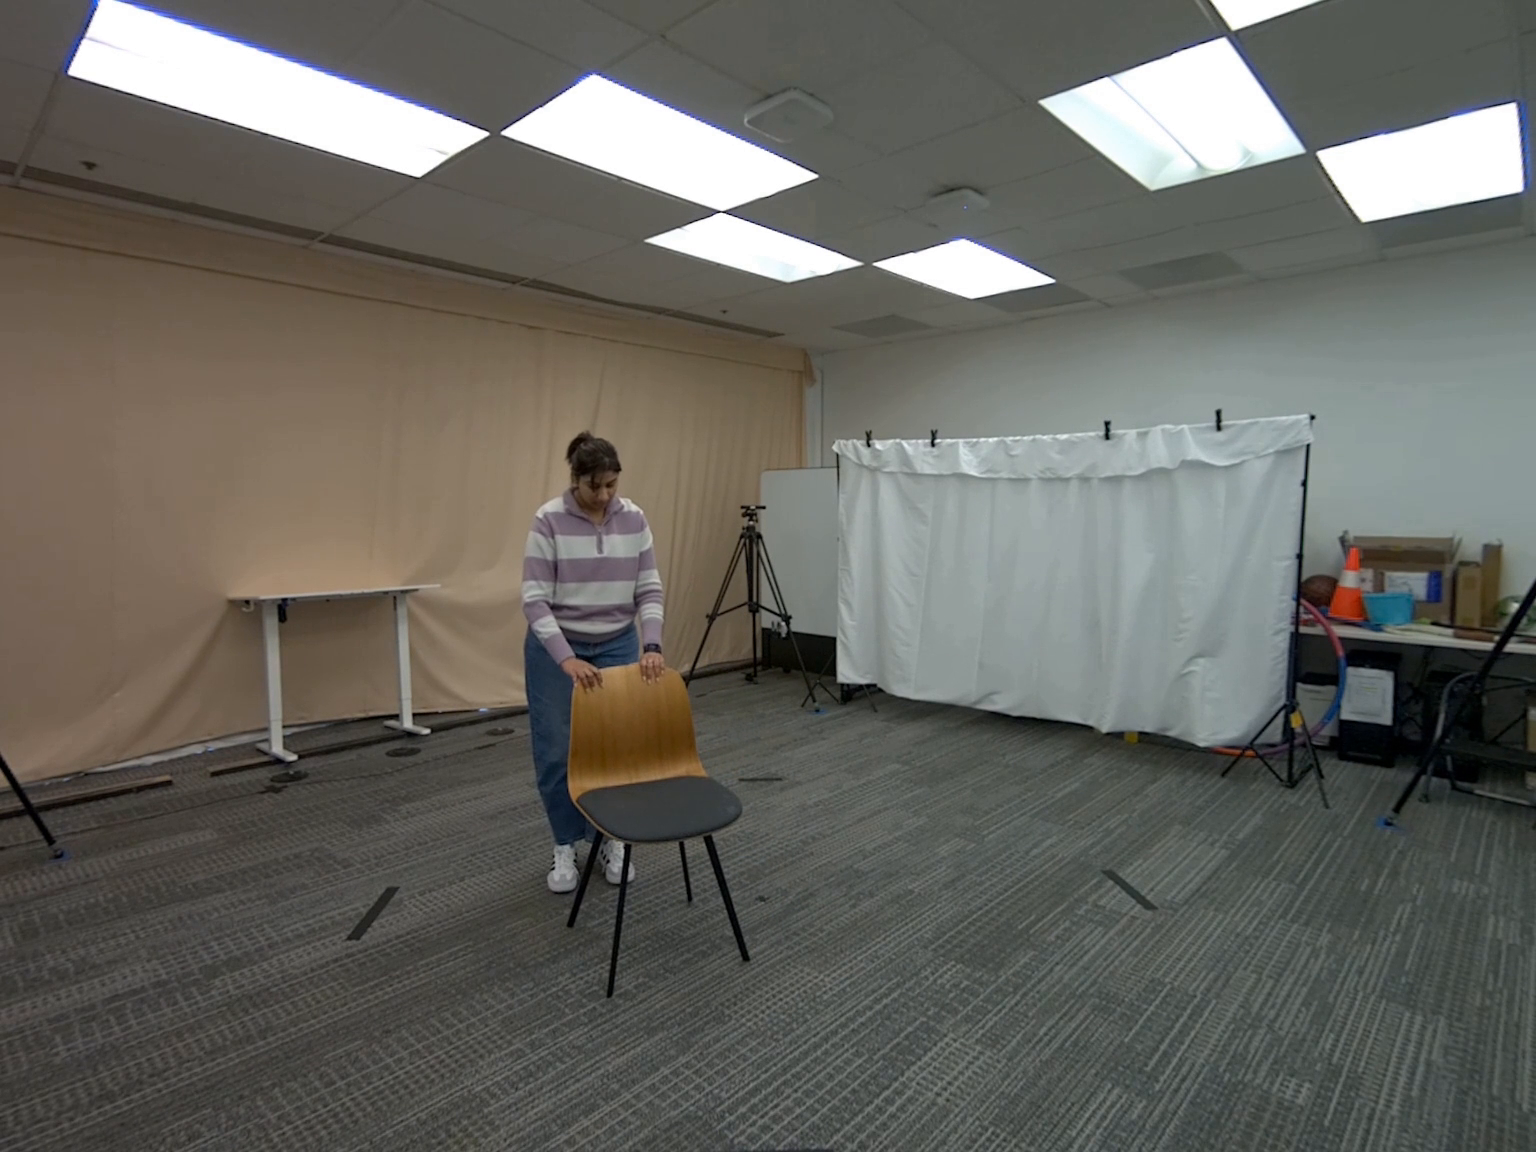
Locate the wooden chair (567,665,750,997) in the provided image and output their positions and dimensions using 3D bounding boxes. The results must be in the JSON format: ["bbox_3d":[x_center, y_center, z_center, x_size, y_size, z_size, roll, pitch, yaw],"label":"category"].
[{"bbox_3d":[-0.354,0.748,2.643,0.466,0.878,0.536,-2,0,-27],"label":"wooden chair"}]
